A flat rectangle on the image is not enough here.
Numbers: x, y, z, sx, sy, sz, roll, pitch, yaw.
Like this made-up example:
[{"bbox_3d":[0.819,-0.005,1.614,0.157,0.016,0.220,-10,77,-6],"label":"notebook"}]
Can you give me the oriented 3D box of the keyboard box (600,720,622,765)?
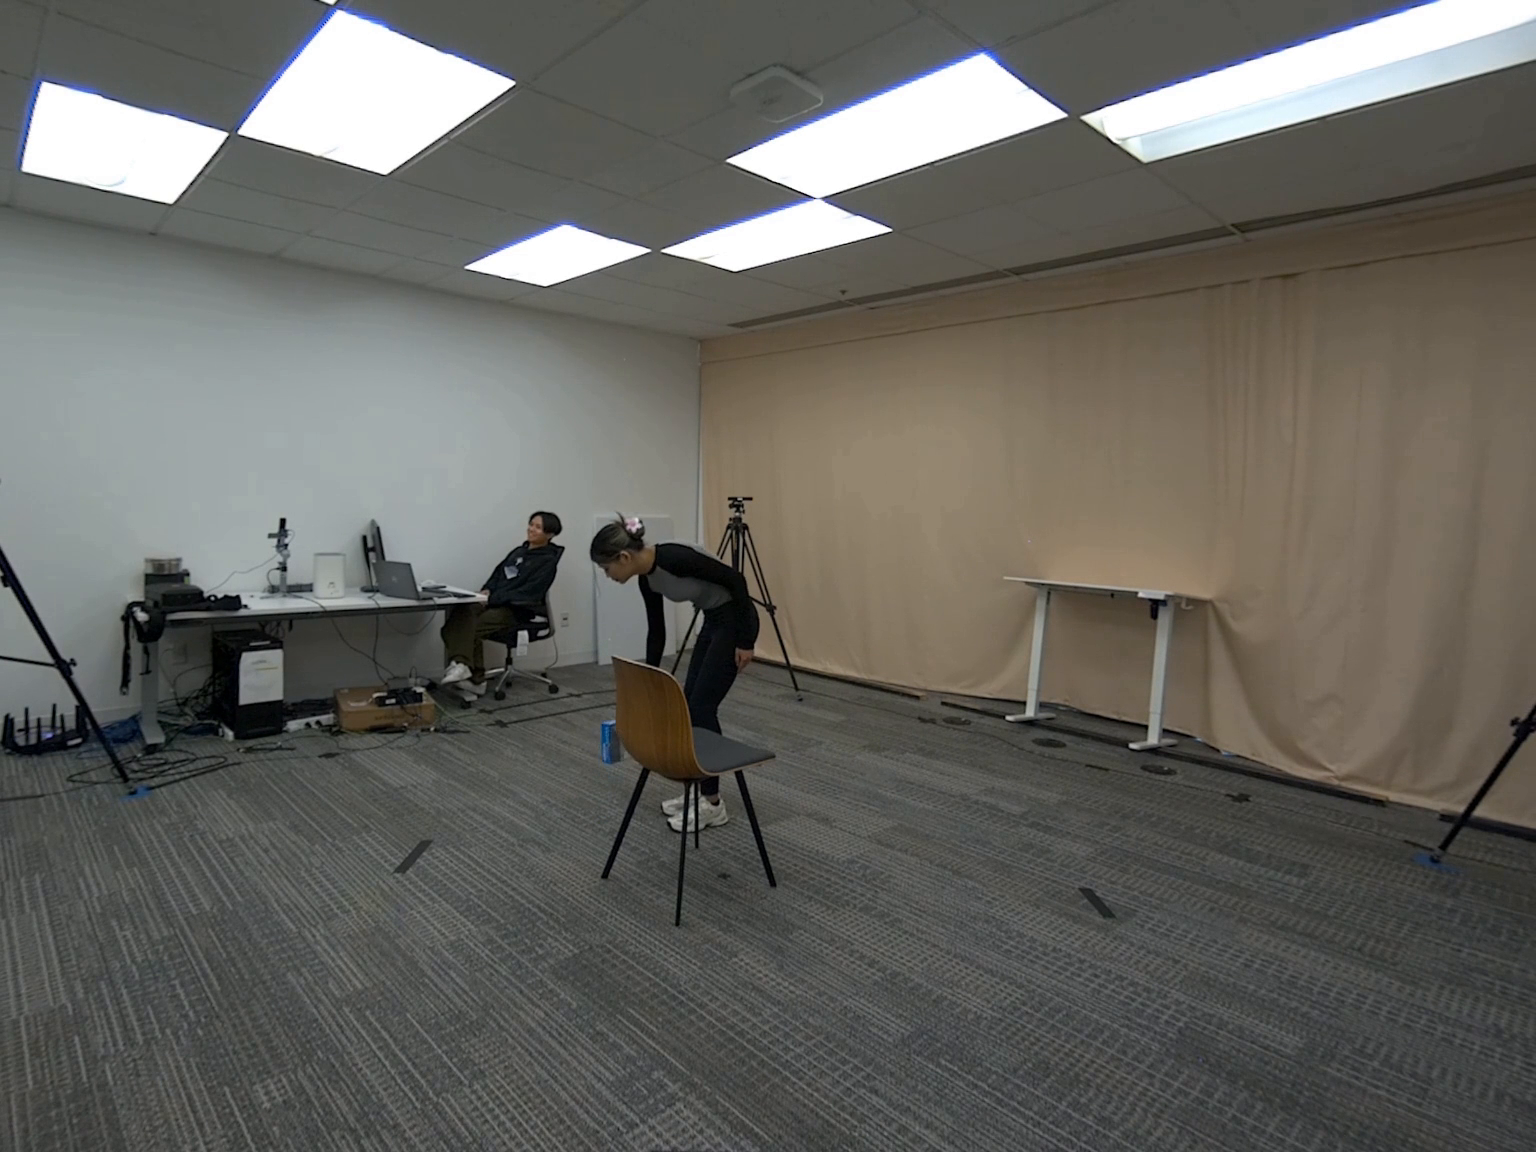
[{"bbox_3d":[-0.553,0.706,3.766,0.060,0.175,0.427,1,4,41],"label":"keyboard box"}]
